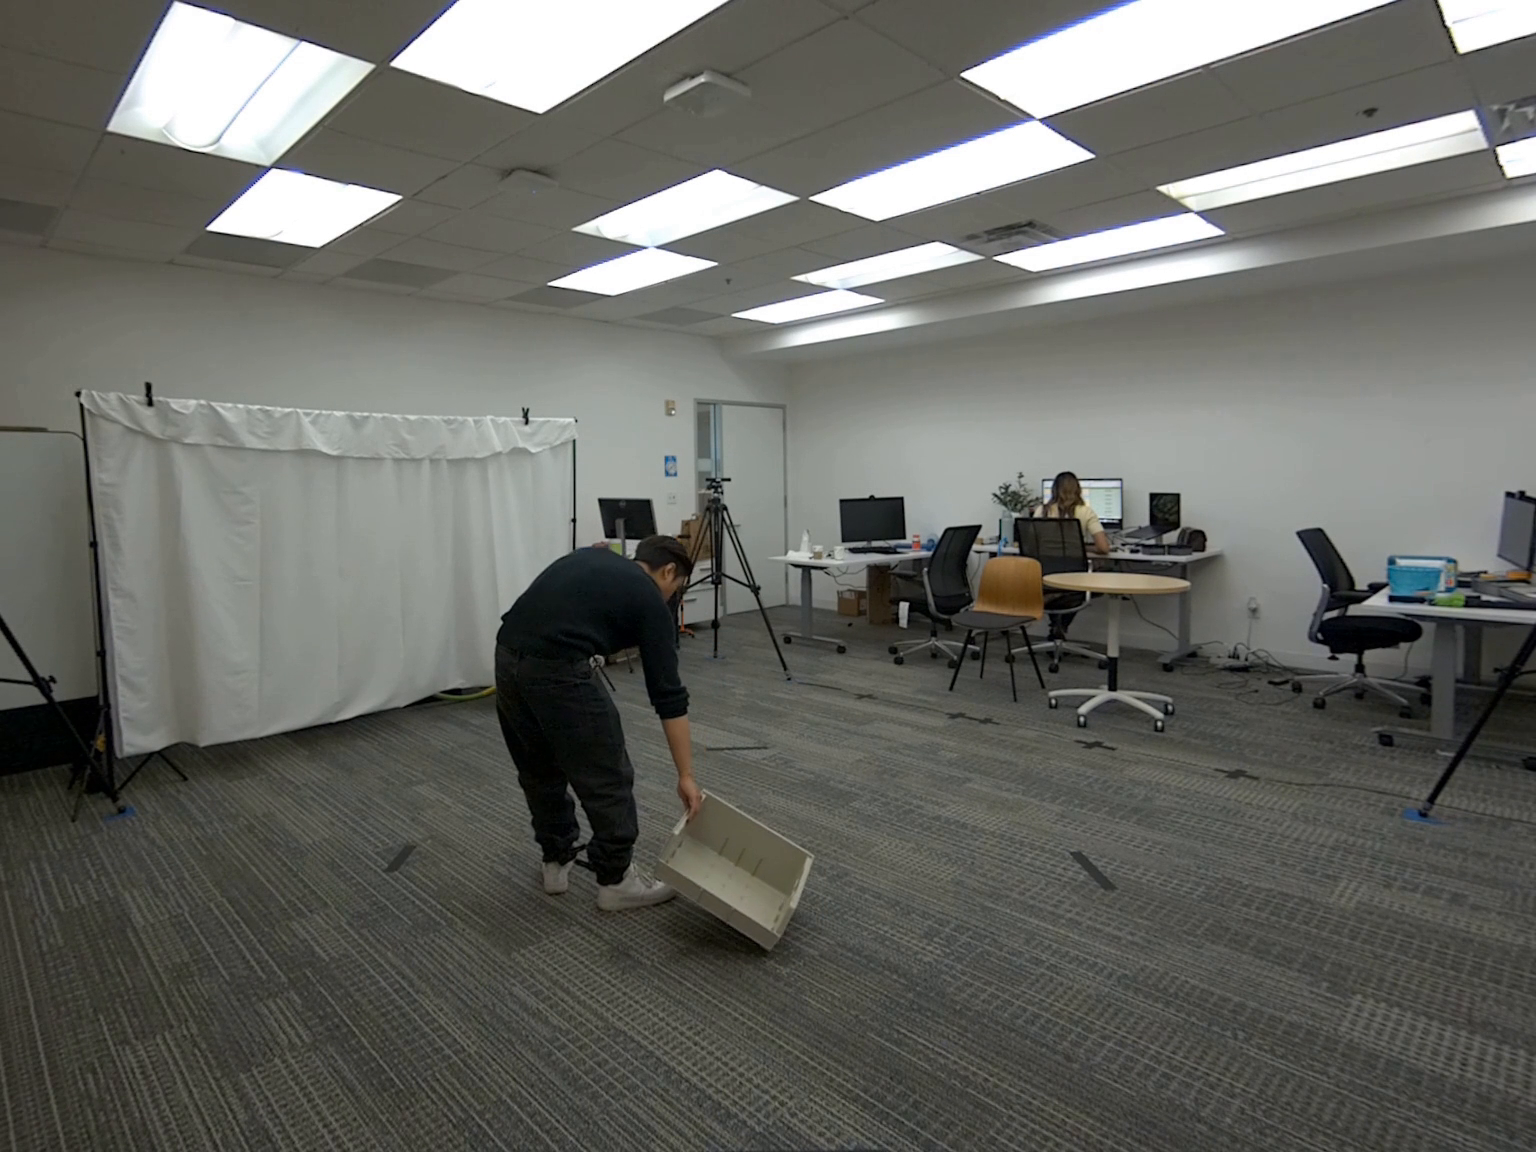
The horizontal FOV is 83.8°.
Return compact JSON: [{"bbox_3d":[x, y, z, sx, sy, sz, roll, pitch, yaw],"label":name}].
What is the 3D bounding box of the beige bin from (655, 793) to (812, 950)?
[{"bbox_3d":[-0.109,0.910,2.682,0.428,0.188,0.374,26,9,9],"label":"beige bin"}]
